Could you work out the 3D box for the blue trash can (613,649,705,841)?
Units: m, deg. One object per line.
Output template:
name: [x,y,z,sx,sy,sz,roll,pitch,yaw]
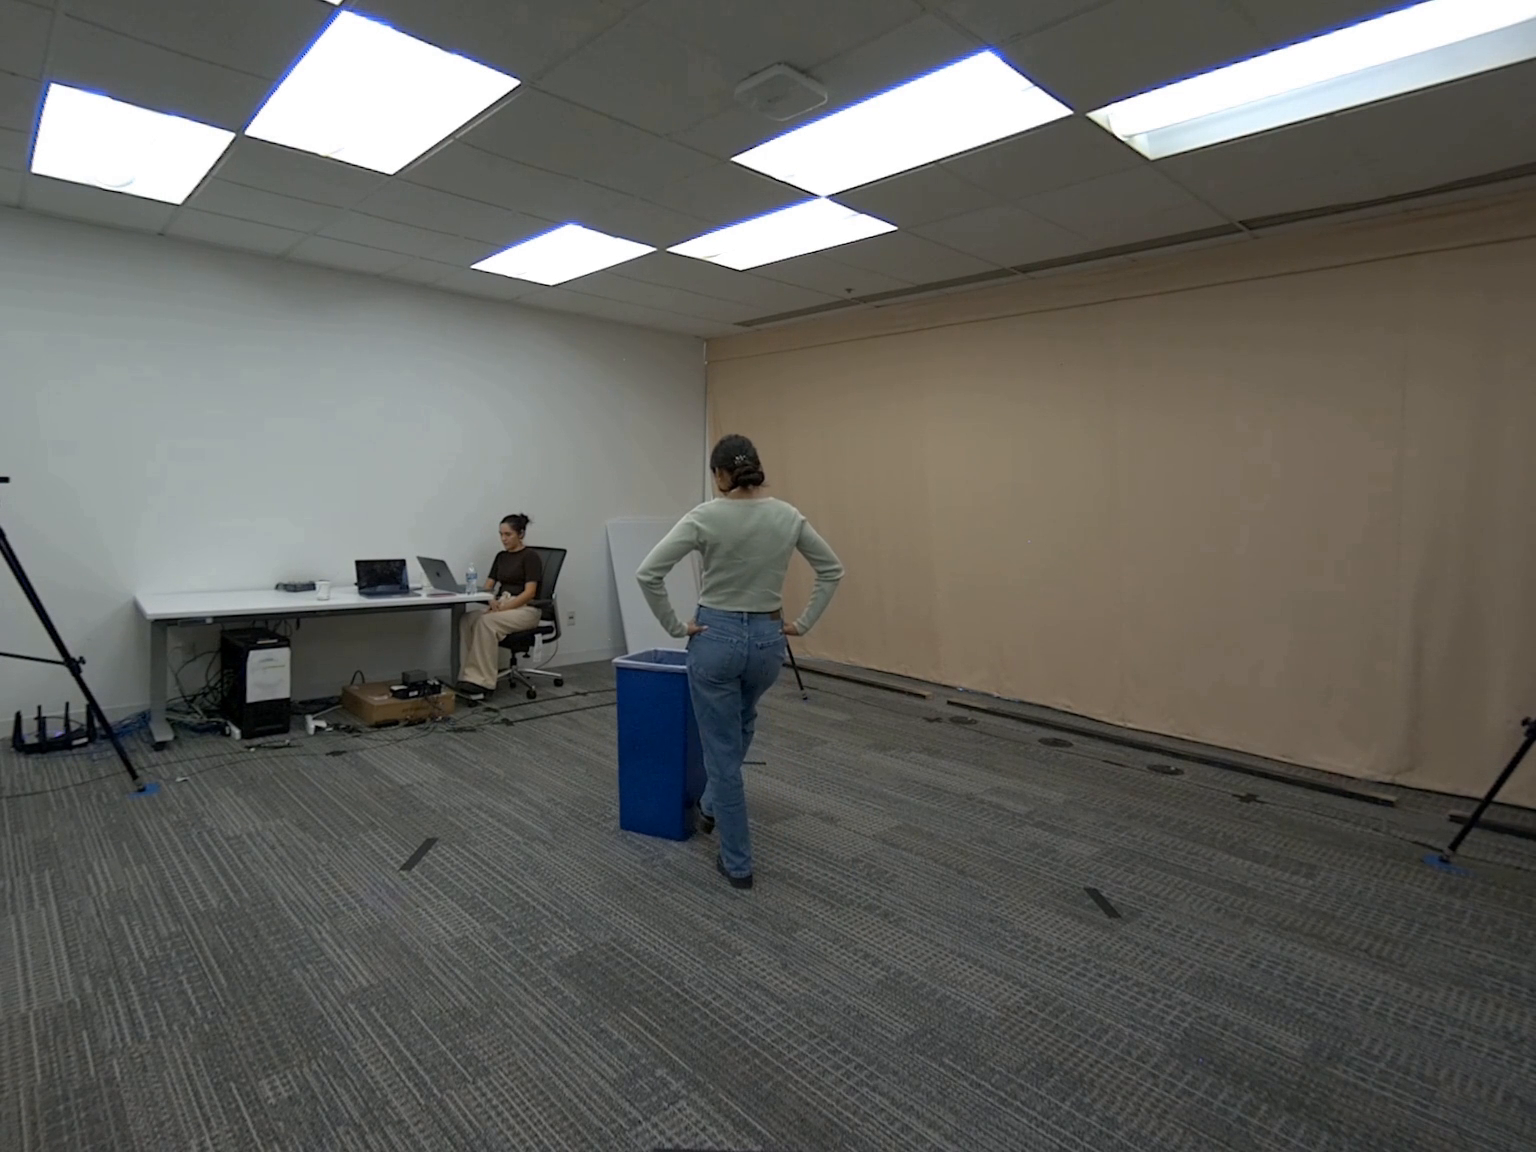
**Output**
blue trash can: [-0.431,0.695,3.578,0.385,0.712,0.368,2,4,23]
